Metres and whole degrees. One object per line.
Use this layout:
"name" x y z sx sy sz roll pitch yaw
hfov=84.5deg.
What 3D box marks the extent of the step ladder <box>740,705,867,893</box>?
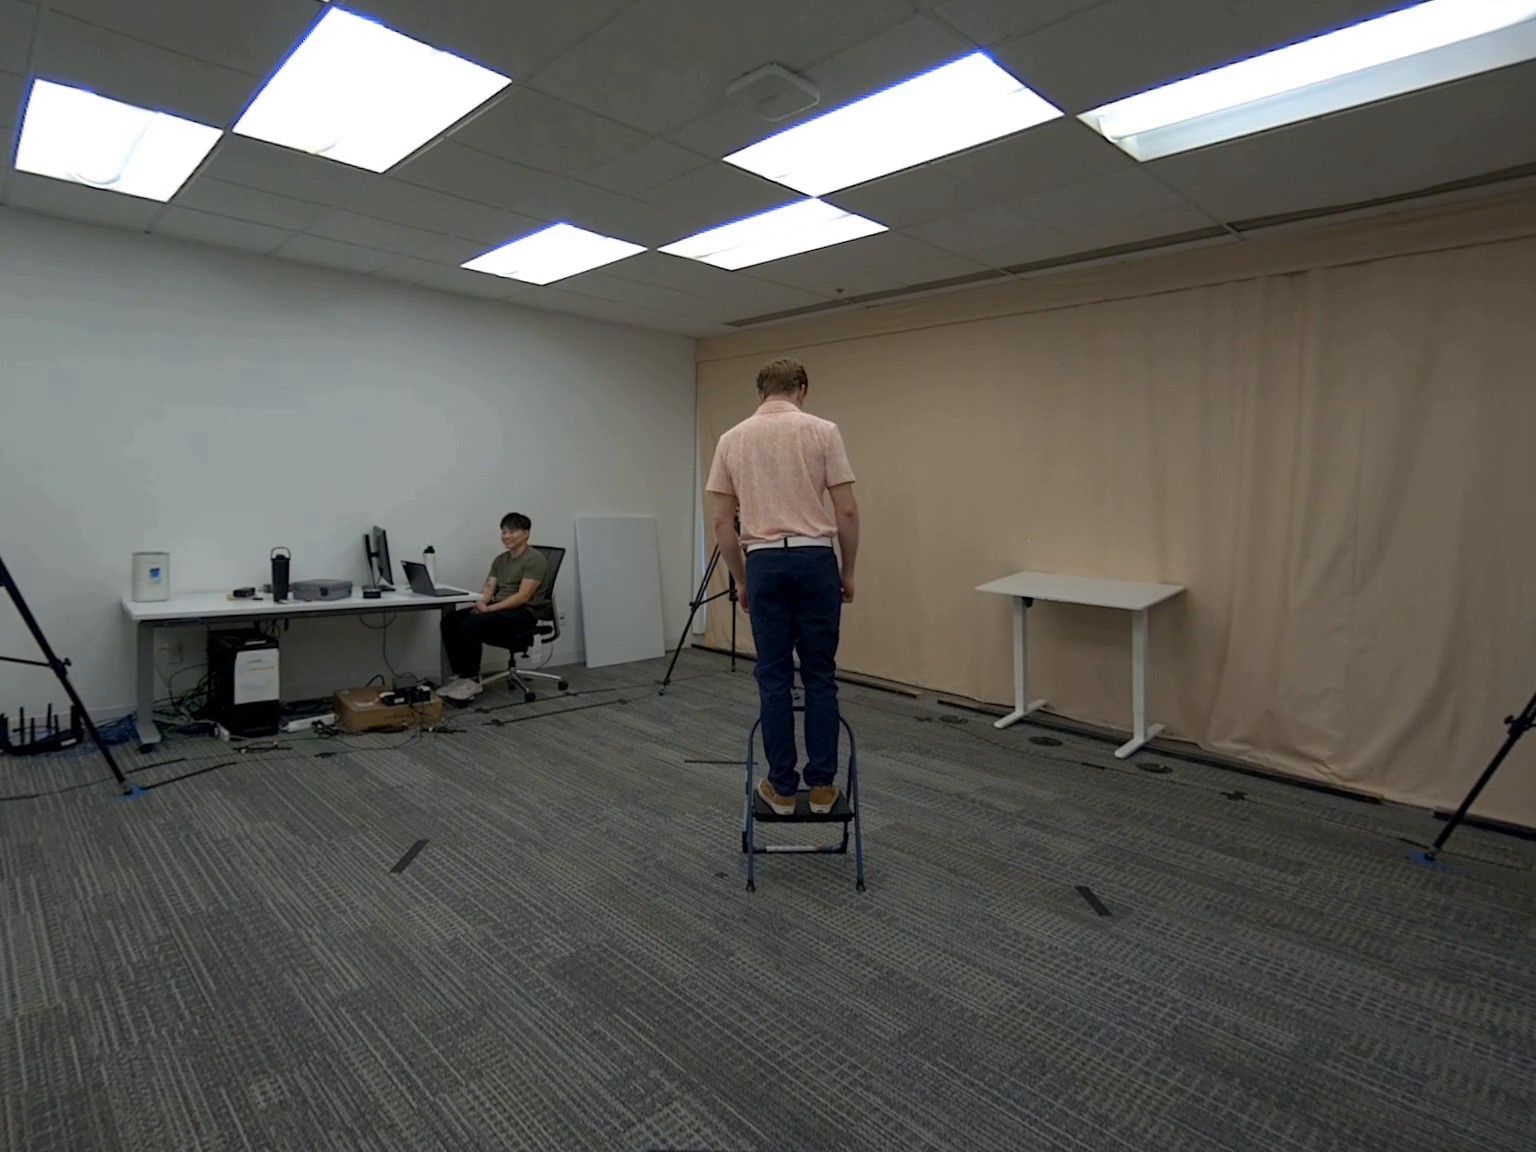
"step ladder" 0.122 0.808 3.150 0.429 0.604 0.351 1 4 -5
